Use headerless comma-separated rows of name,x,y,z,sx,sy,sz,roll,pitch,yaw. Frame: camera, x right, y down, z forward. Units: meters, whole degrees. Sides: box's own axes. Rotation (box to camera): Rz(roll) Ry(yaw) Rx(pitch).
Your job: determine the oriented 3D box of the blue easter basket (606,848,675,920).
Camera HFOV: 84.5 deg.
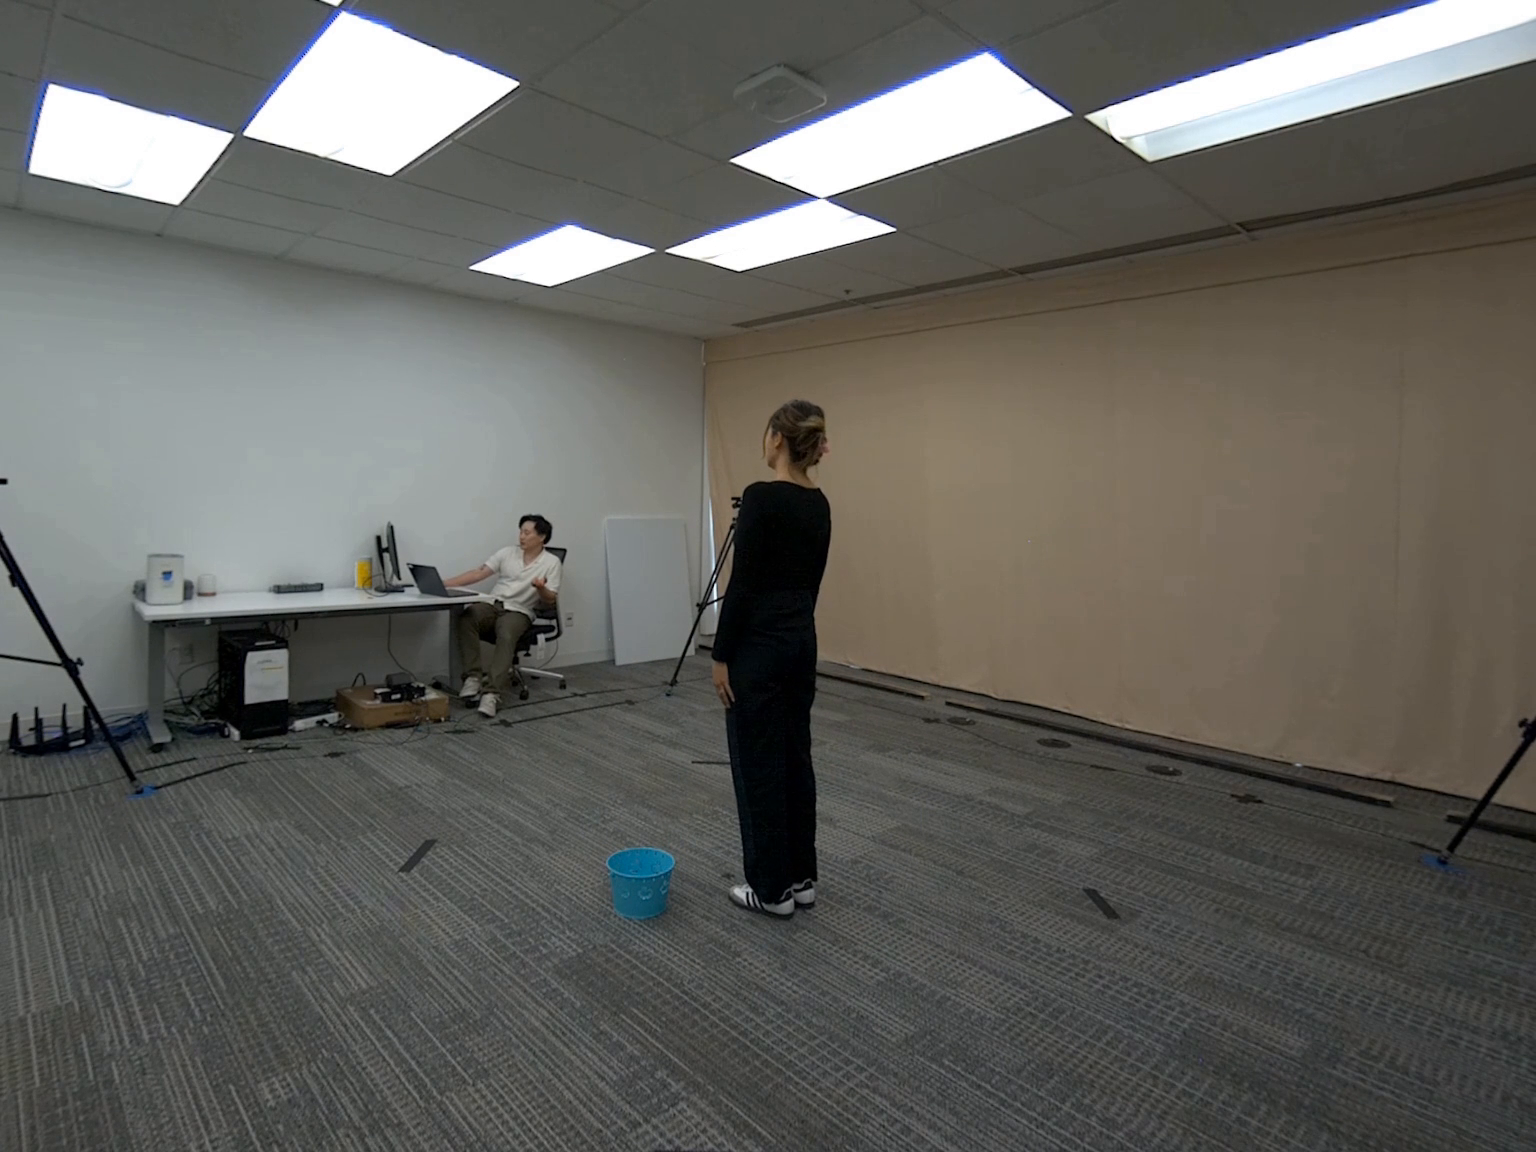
blue easter basket,-0.434,1.036,2.867,0.243,0.155,0.245,2,6,-2
